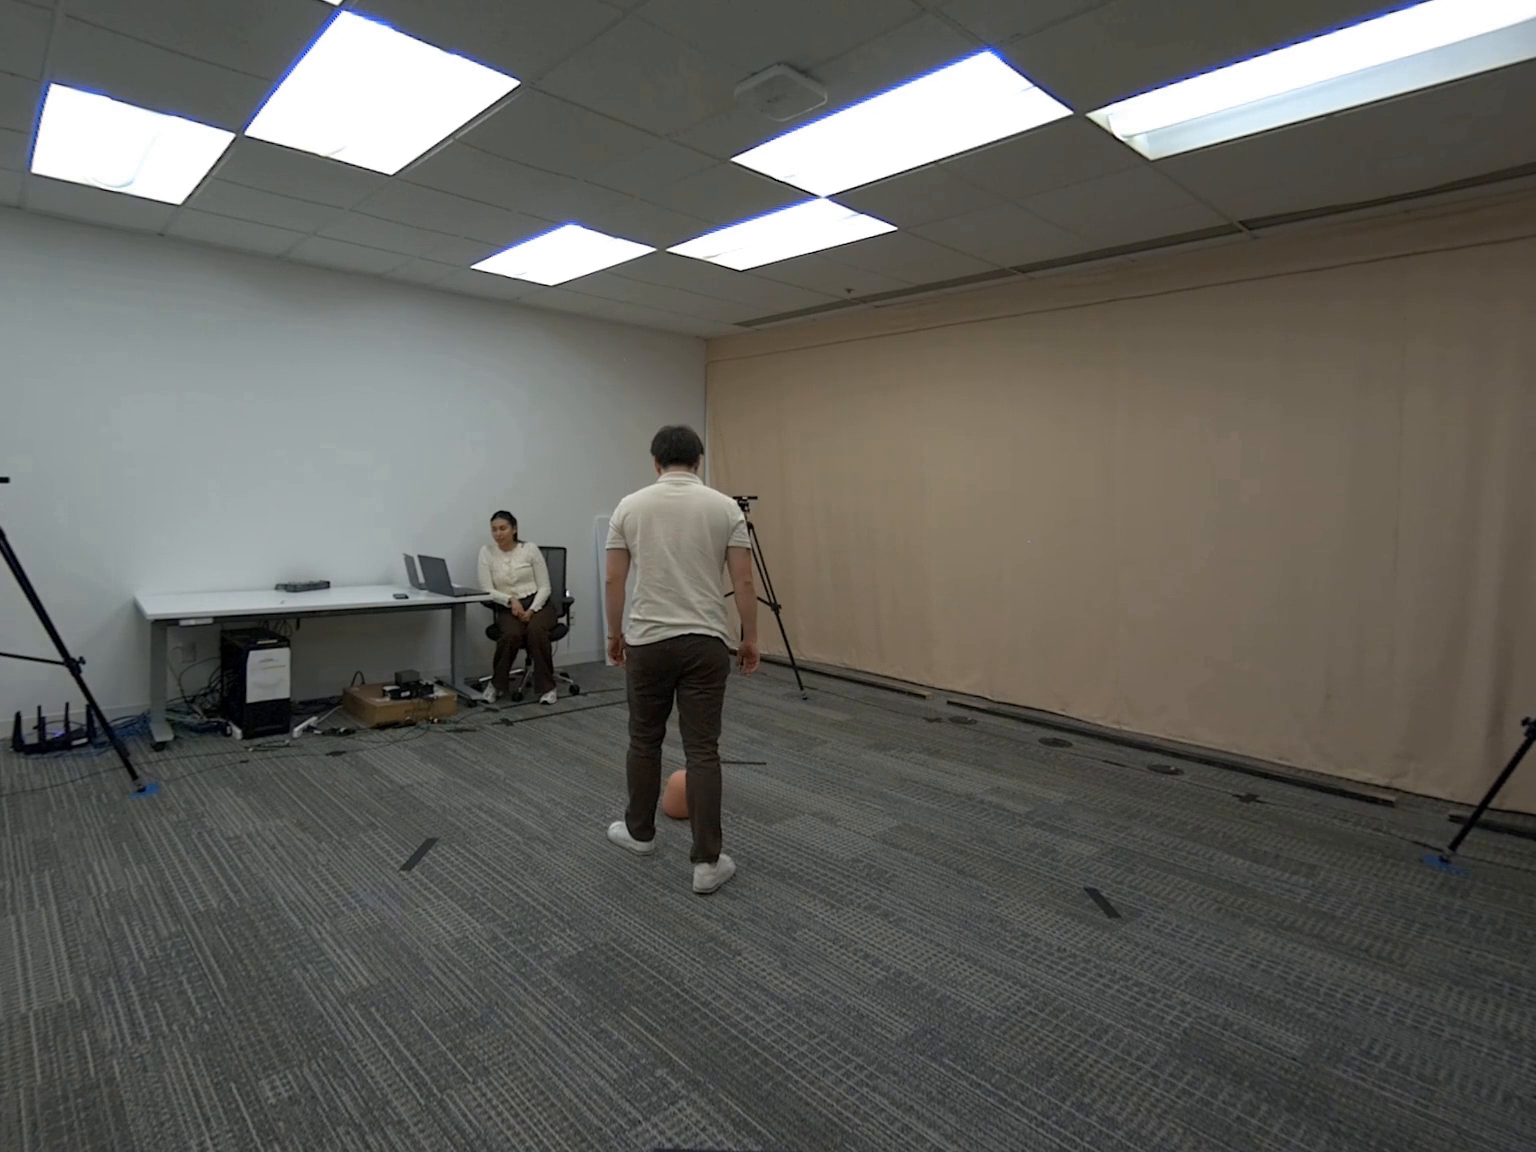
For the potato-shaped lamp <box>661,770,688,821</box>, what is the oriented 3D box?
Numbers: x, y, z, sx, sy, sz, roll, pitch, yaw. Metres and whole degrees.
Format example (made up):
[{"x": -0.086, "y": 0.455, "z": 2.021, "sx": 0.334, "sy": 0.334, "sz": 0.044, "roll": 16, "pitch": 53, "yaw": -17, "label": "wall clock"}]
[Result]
[{"x": -0.388, "y": 0.946, "z": 3.673, "sx": 0.162, "sy": 0.197, "sz": 0.175, "roll": -1, "pitch": 8, "yaw": -24, "label": "potato-shaped lamp"}]
